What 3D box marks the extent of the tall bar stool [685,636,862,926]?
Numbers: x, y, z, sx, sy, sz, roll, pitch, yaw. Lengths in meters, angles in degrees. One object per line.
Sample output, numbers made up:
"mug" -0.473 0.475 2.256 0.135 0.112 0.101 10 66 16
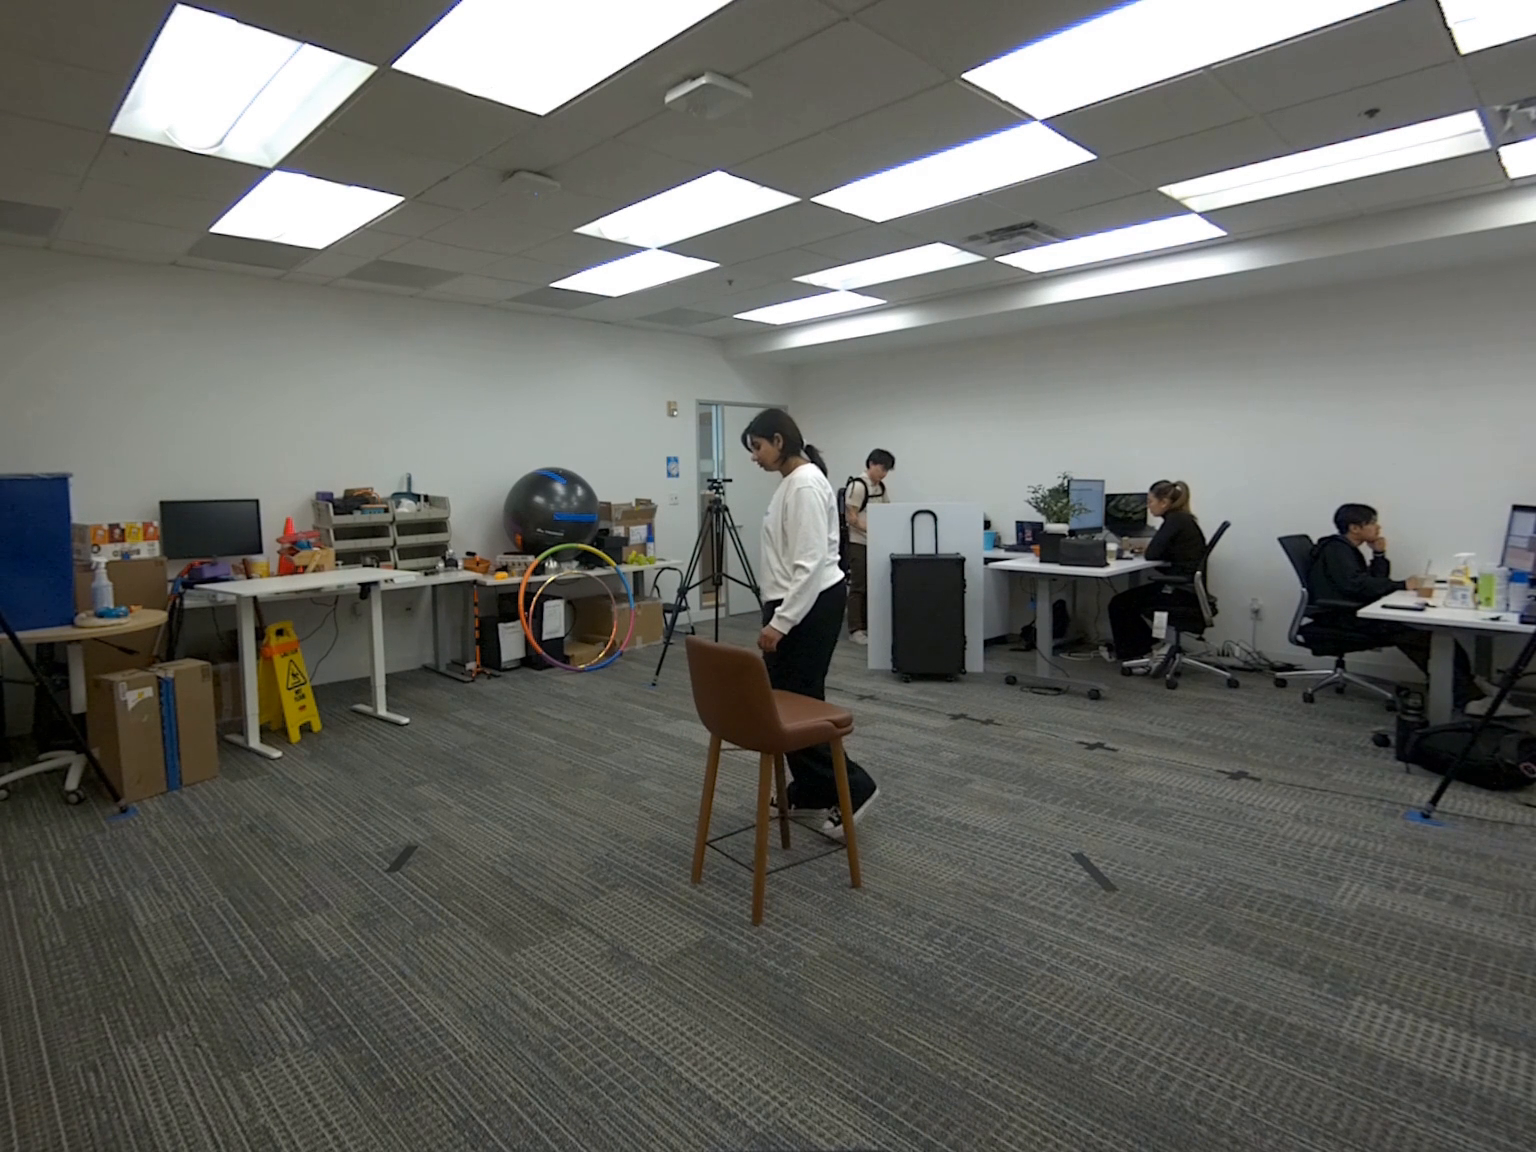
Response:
"tall bar stool" 0.012 0.630 2.922 0.456 0.885 0.470 -6 7 -37
